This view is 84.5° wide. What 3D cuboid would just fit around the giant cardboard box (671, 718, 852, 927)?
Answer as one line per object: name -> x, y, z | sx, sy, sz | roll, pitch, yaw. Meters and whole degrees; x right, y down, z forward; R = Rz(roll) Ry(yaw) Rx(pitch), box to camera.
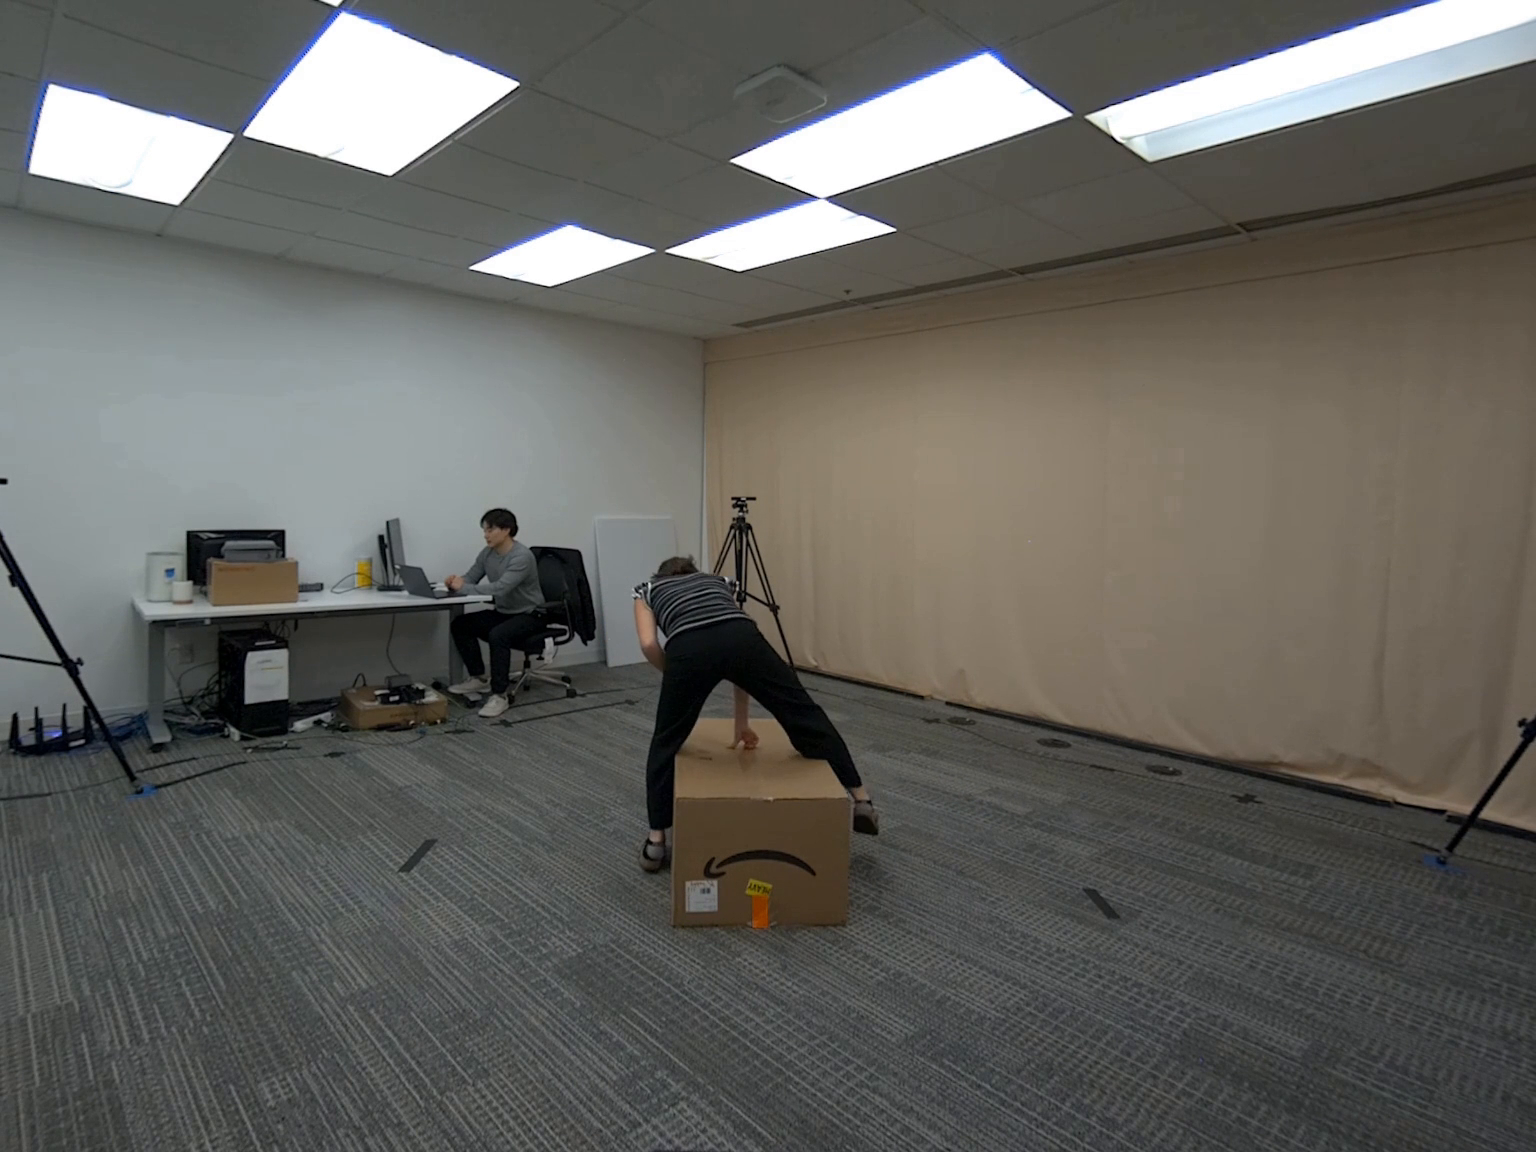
giant cardboard box -> -0.089, 0.895, 3.234 | 0.575, 0.425, 1.032 | 1, 4, -5
